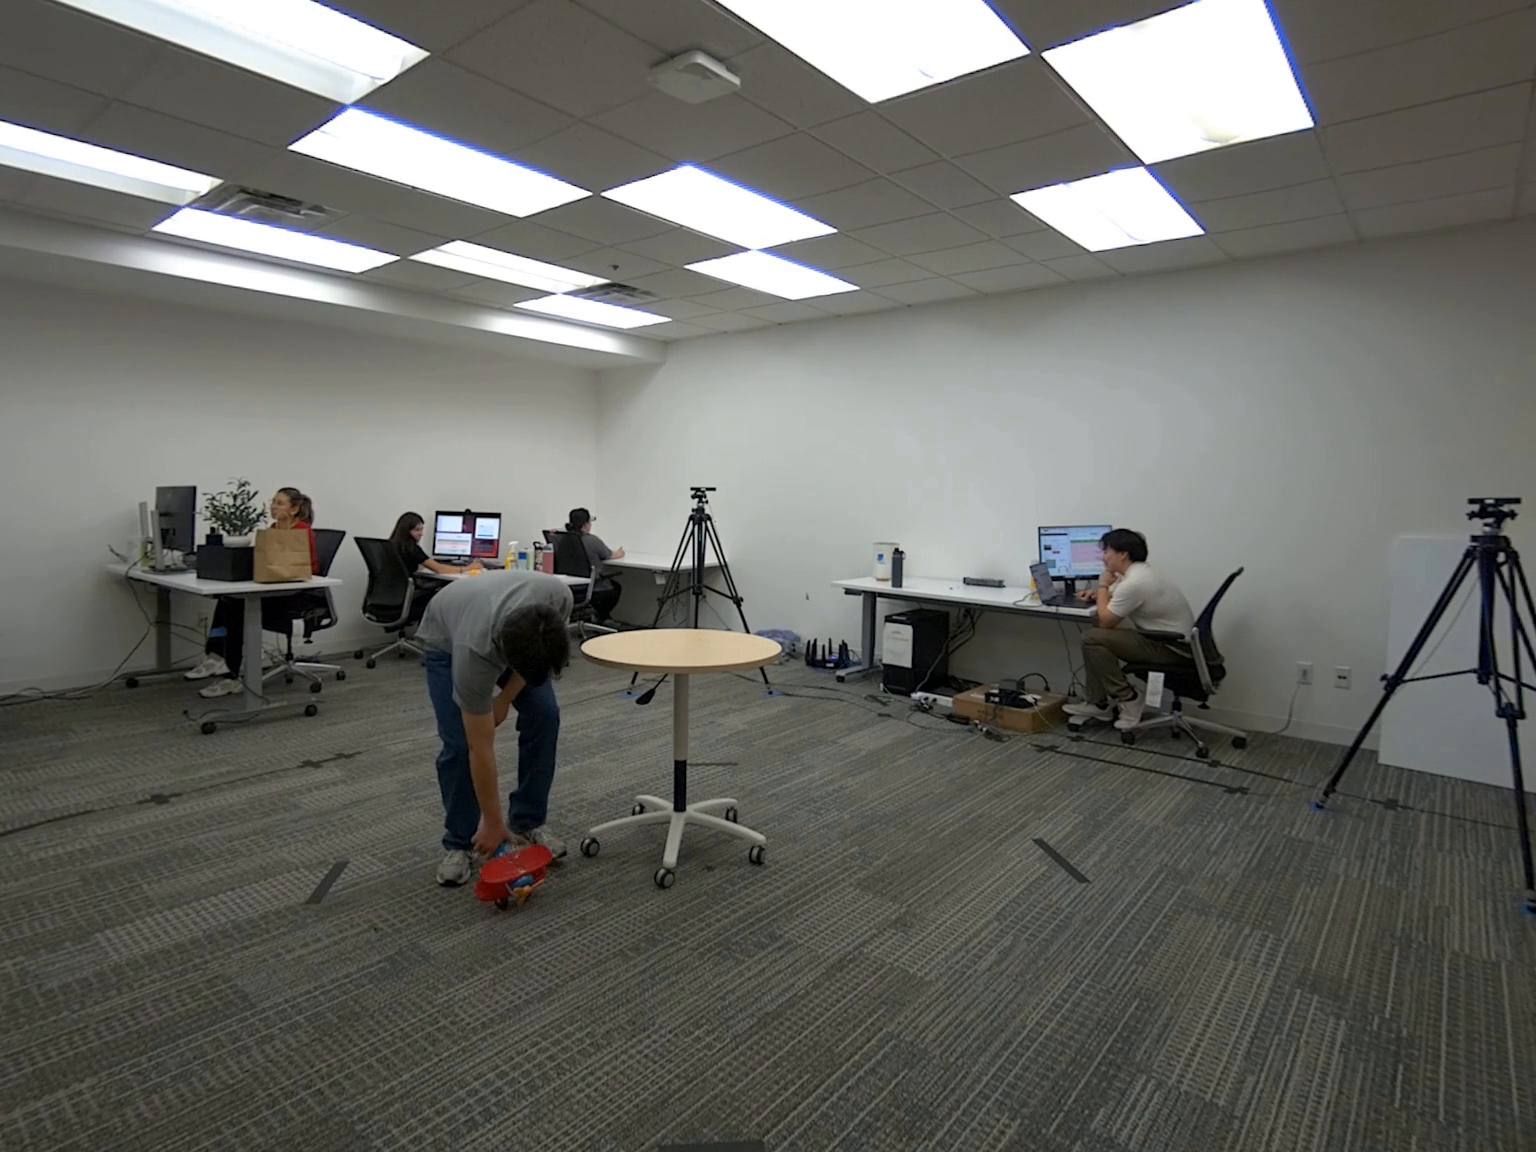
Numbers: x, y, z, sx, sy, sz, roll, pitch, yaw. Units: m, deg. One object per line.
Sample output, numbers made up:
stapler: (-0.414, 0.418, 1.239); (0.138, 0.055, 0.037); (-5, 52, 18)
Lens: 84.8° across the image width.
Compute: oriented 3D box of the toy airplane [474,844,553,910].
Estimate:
toy airplane: (-0.888, 0.972, 2.810); (0.261, 0.155, 0.251); (37, 33, 2)
